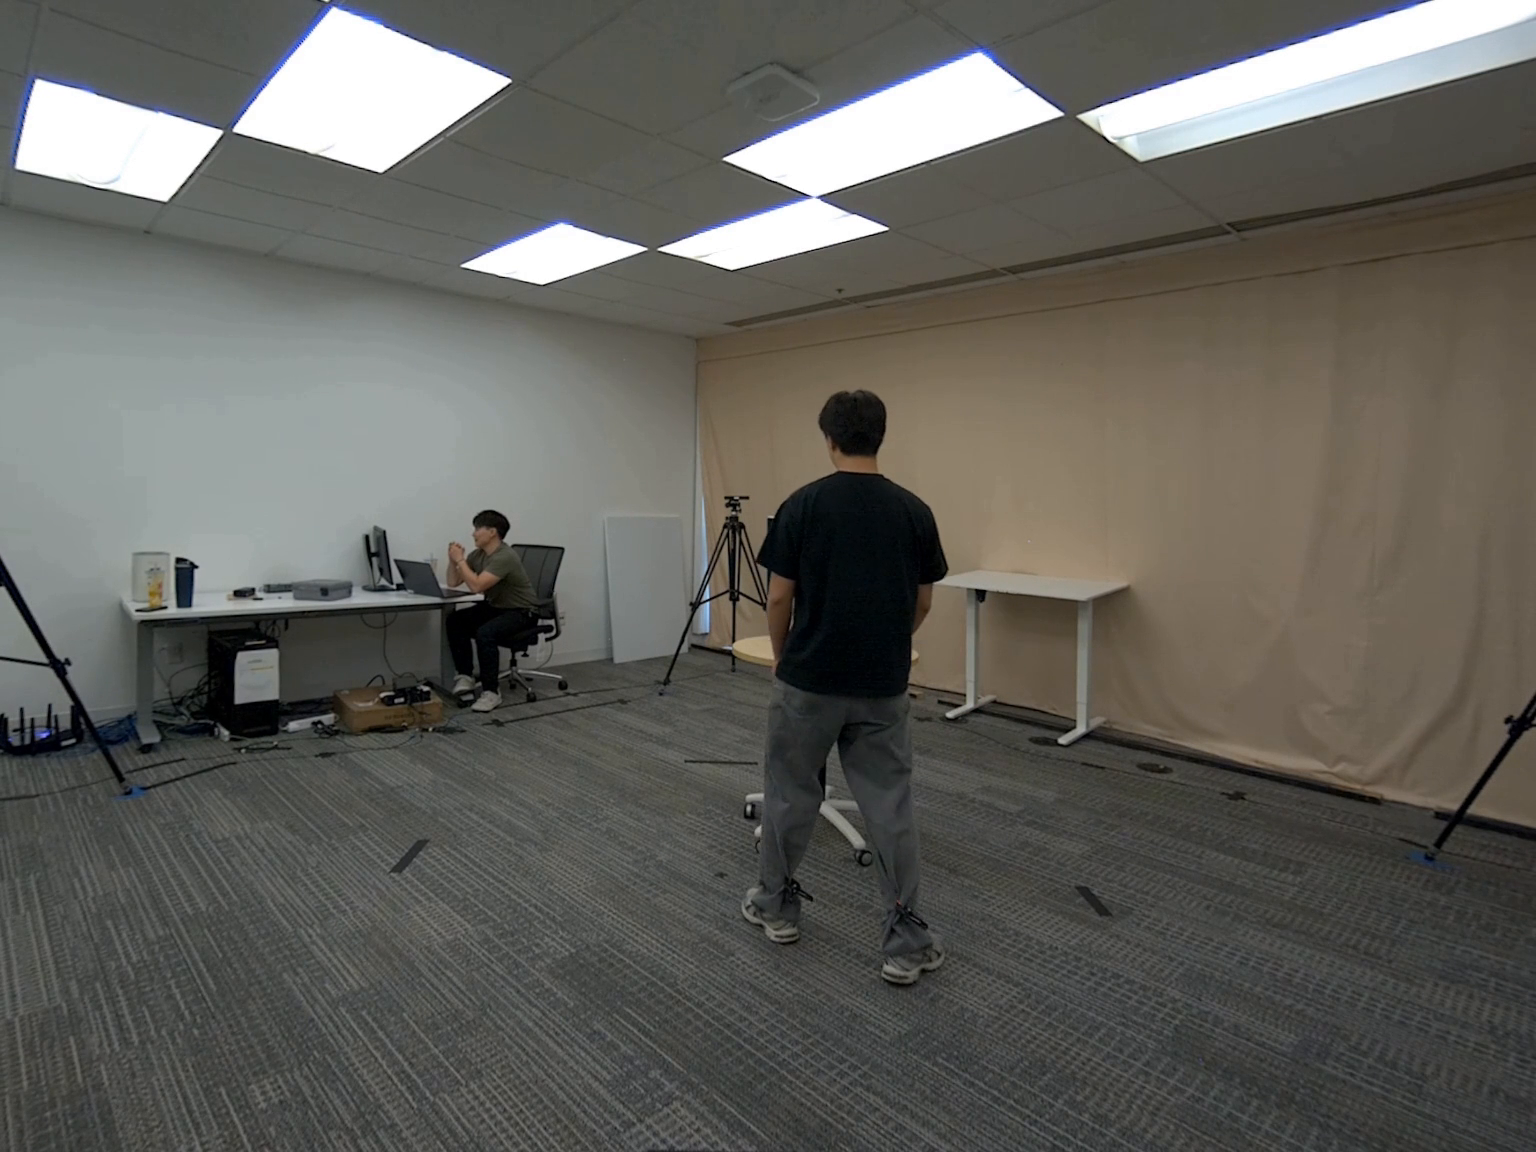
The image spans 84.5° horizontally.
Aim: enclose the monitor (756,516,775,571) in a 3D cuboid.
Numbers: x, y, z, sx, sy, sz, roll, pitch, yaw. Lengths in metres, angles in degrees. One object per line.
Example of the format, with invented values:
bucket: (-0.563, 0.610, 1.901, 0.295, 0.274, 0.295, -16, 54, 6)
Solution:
monitor: (0.259, 0.033, 3.643, 0.567, 0.566, 0.220, 3, 0, 11)
